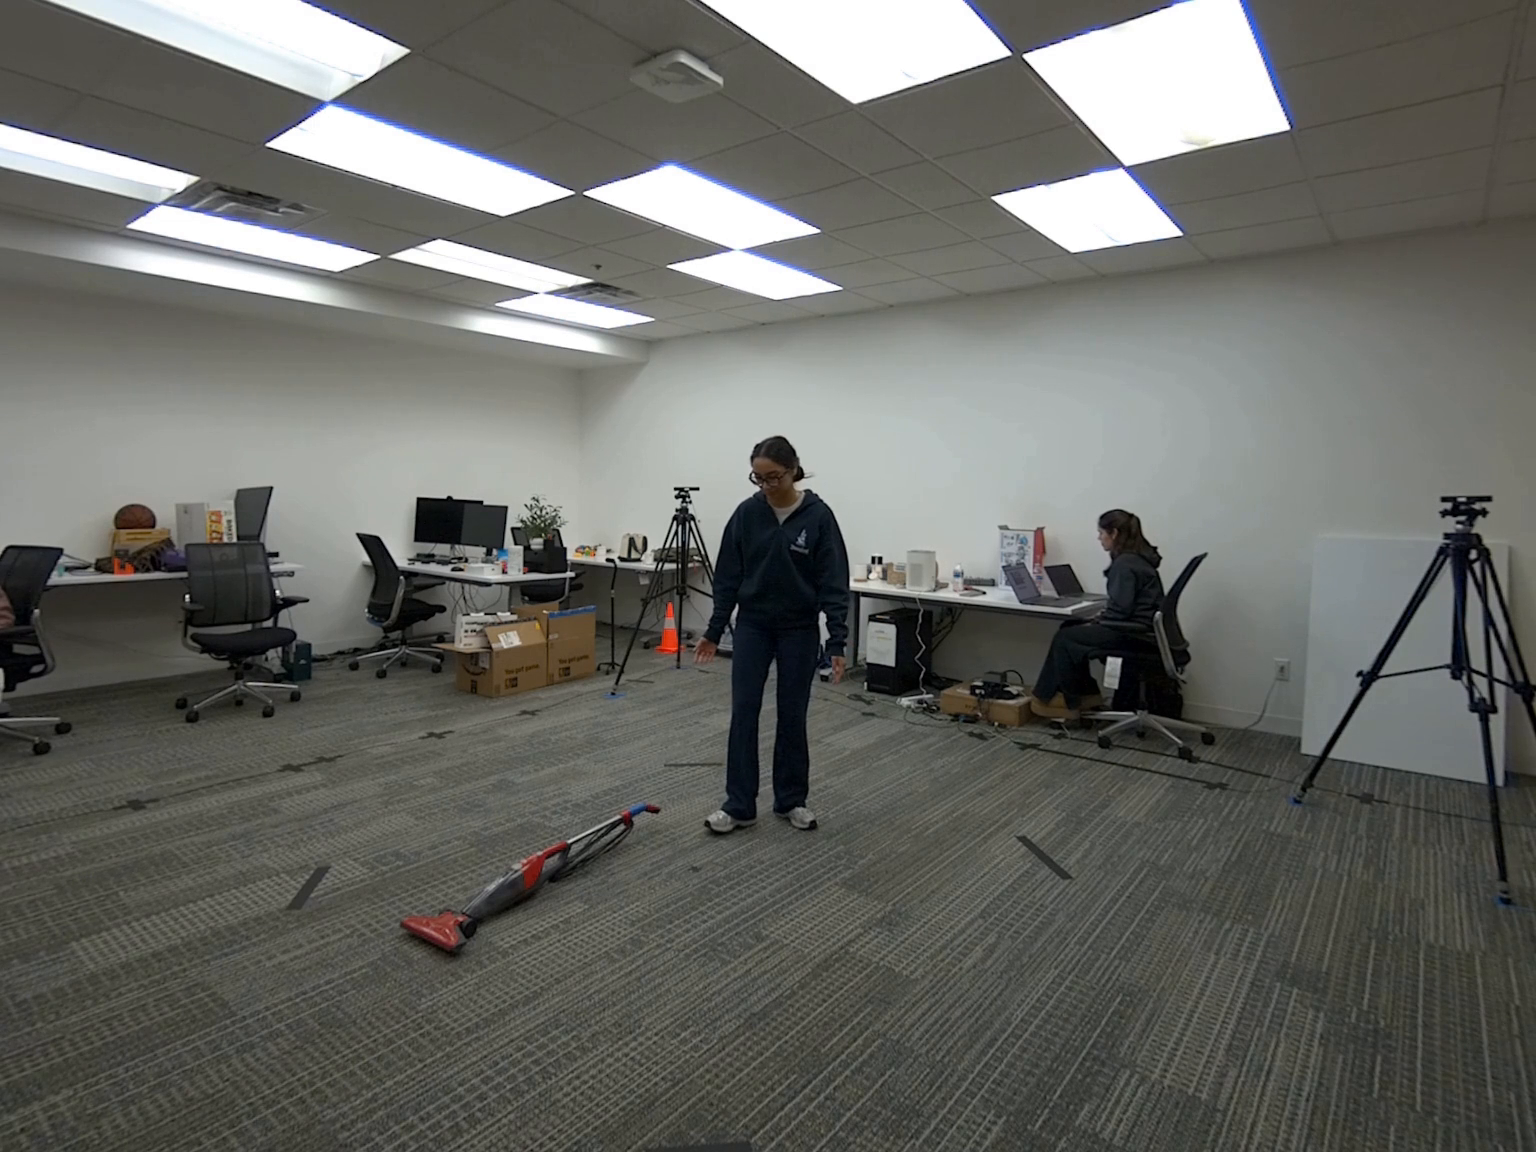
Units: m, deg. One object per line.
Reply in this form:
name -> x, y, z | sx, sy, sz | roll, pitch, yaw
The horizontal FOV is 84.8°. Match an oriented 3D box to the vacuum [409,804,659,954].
vacuum -> -0.732, 1.015, 3.031 | 0.260, 0.143, 1.023 | 1, 7, 32
